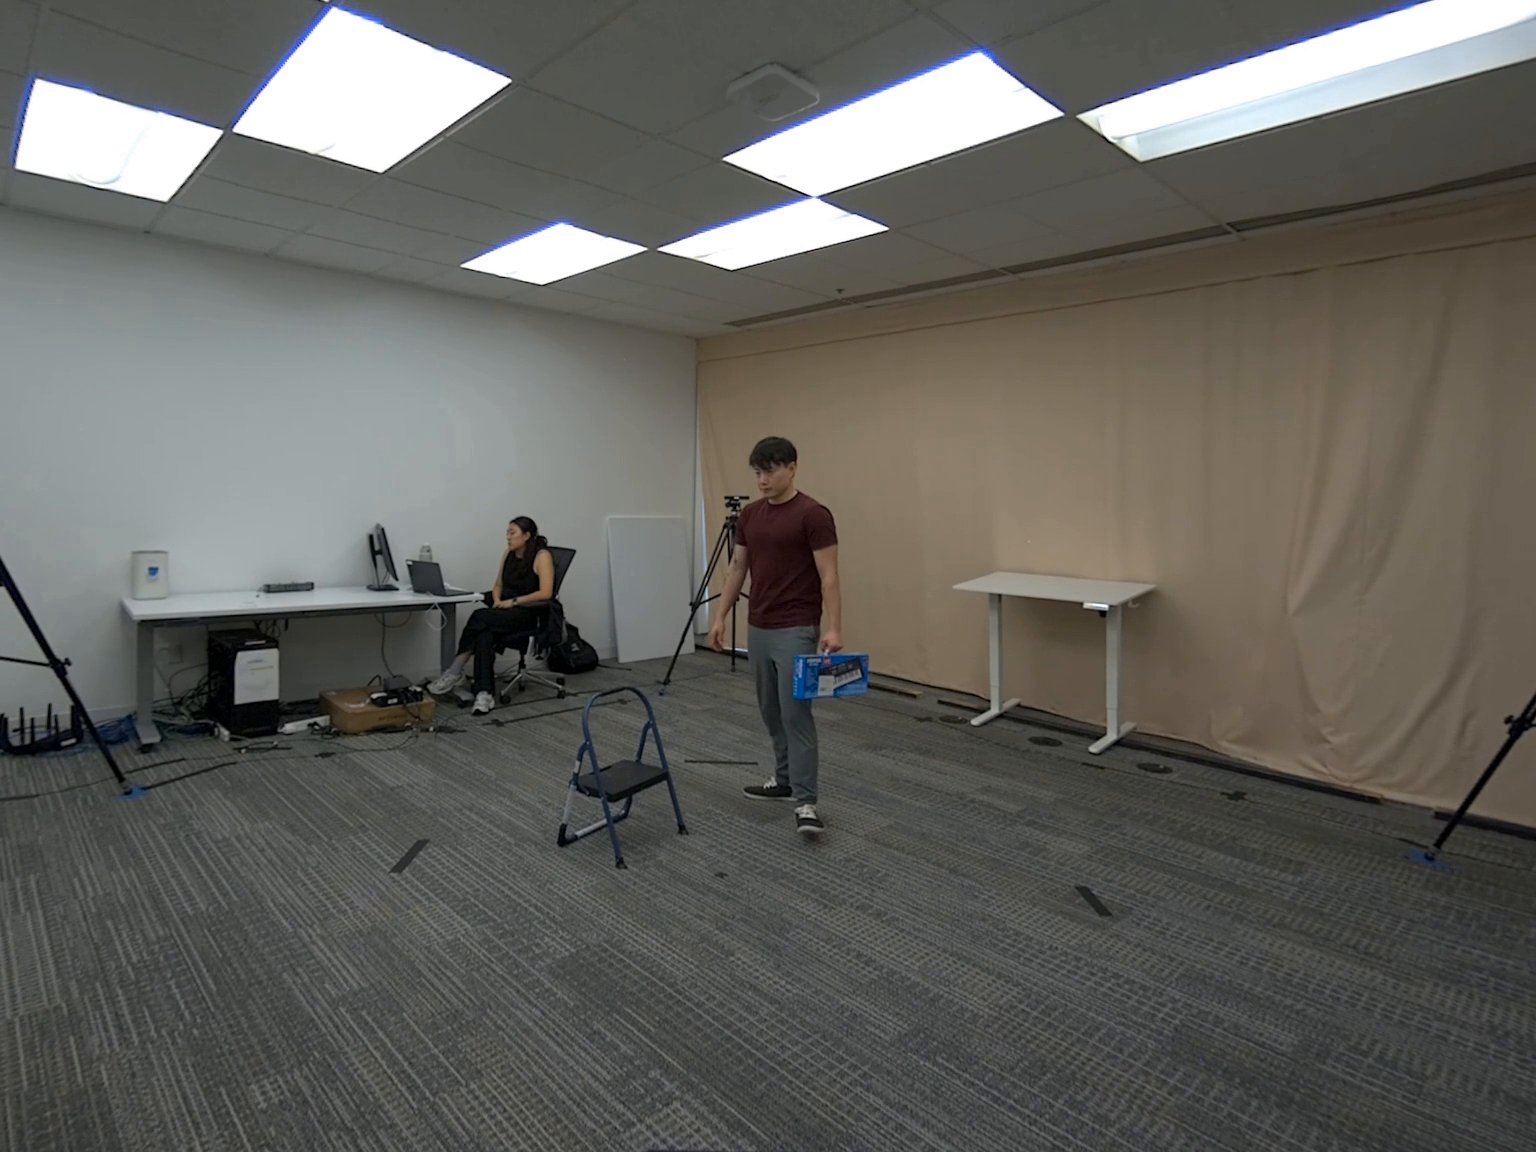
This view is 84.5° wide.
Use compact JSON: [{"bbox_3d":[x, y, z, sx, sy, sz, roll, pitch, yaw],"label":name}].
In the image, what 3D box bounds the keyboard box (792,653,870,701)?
[{"bbox_3d":[0.251,0.419,3.520,0.060,0.176,0.426,2,-1,42],"label":"keyboard box"}]
